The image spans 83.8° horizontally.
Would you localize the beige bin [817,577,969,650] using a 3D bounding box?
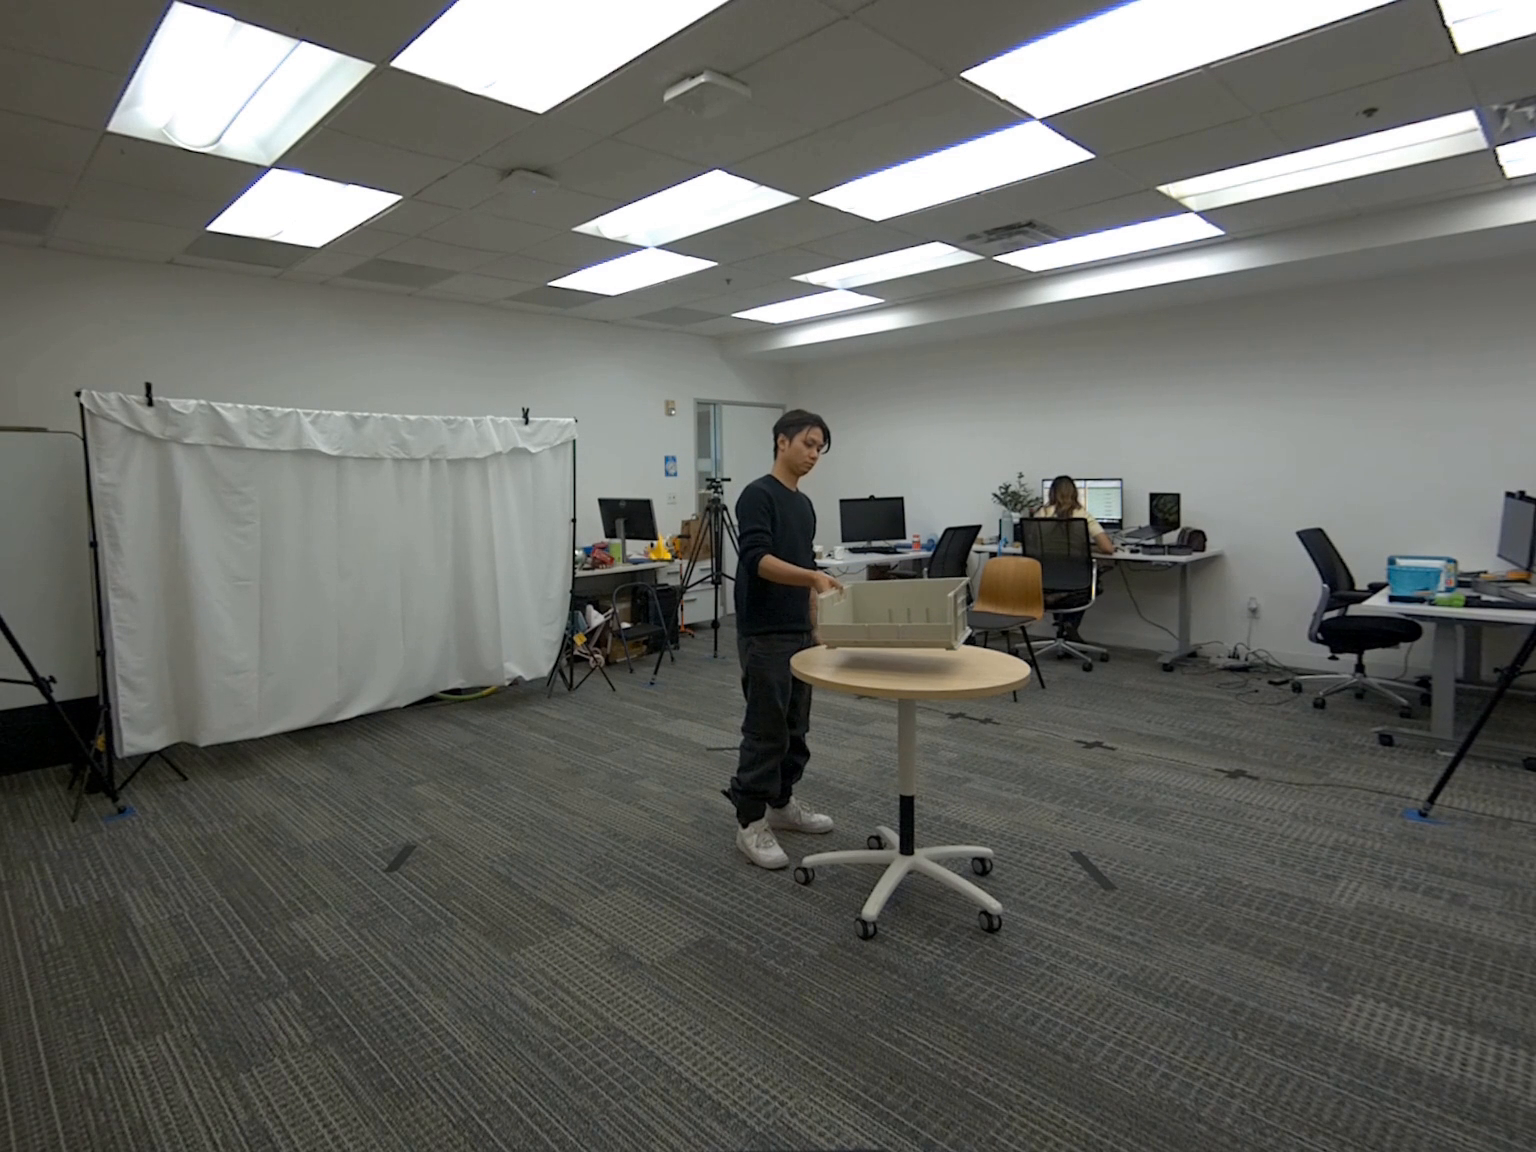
[{"bbox_3d":[0.424,0.132,2.757,0.431,0.188,0.371,-3,4,23],"label":"beige bin"}]
